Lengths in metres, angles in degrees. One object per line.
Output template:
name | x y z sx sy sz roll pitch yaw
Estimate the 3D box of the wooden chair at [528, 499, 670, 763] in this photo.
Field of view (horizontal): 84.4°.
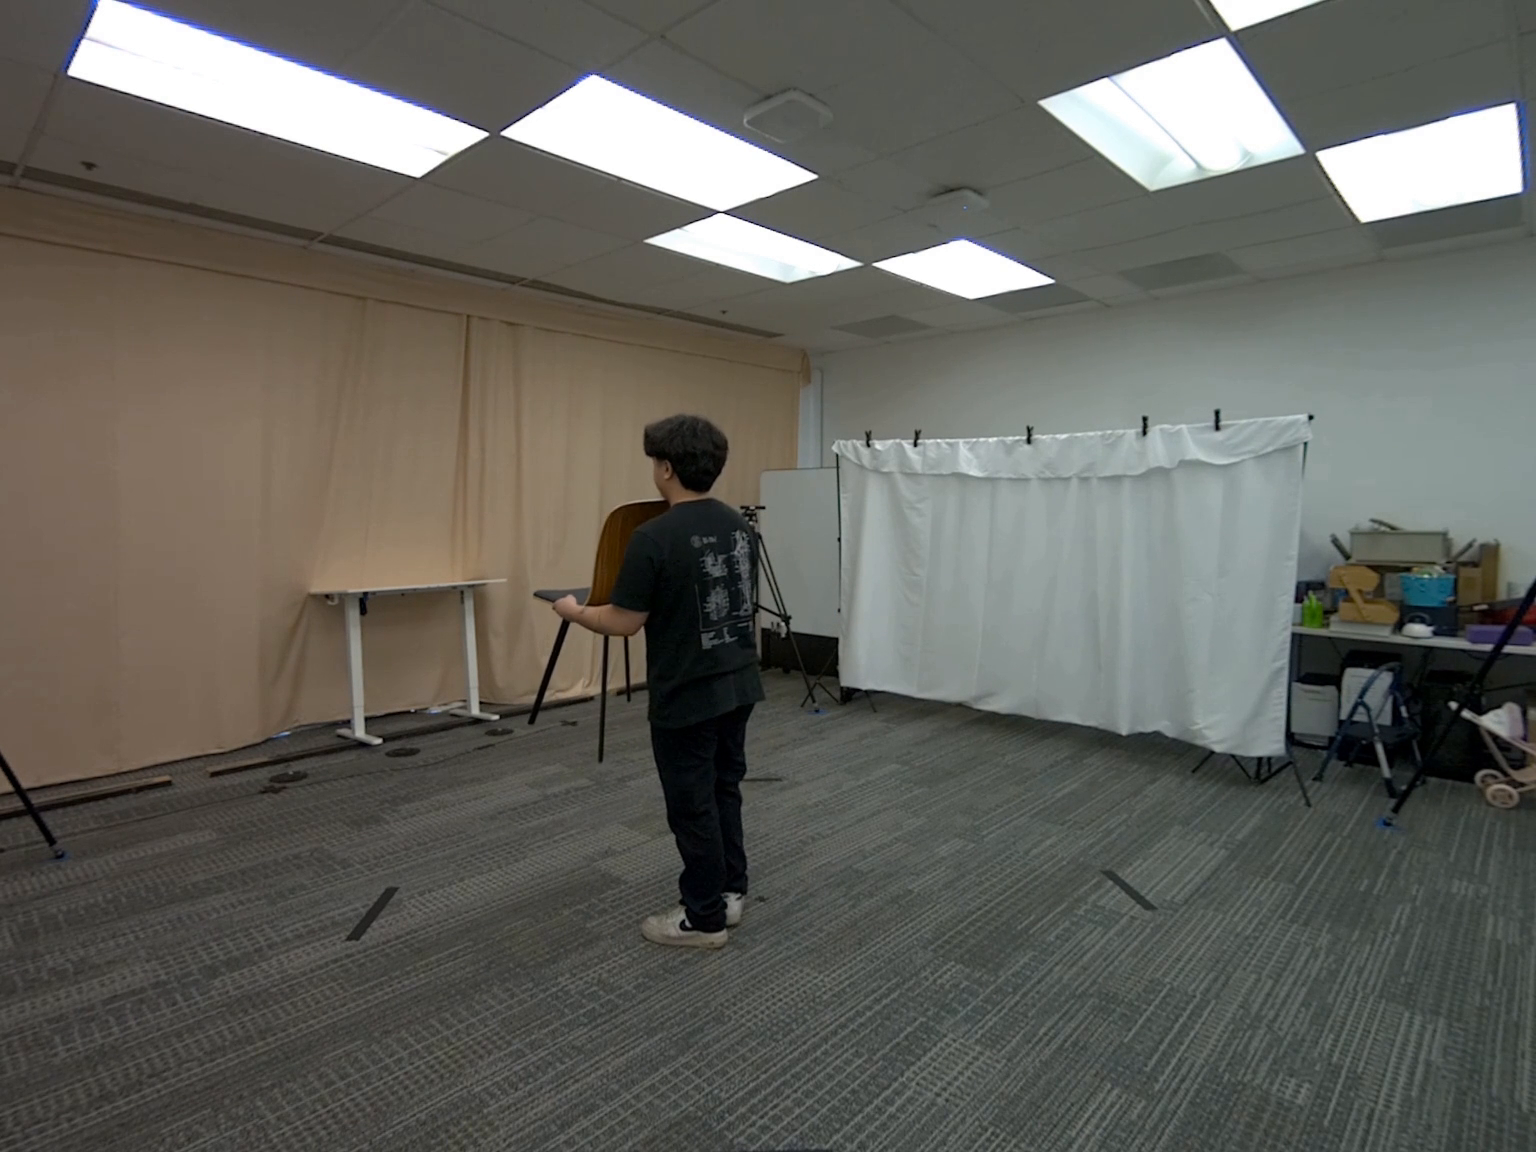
wooden chair | -0.533 0.130 2.948 0.464 0.872 0.542 -7 16 -43
